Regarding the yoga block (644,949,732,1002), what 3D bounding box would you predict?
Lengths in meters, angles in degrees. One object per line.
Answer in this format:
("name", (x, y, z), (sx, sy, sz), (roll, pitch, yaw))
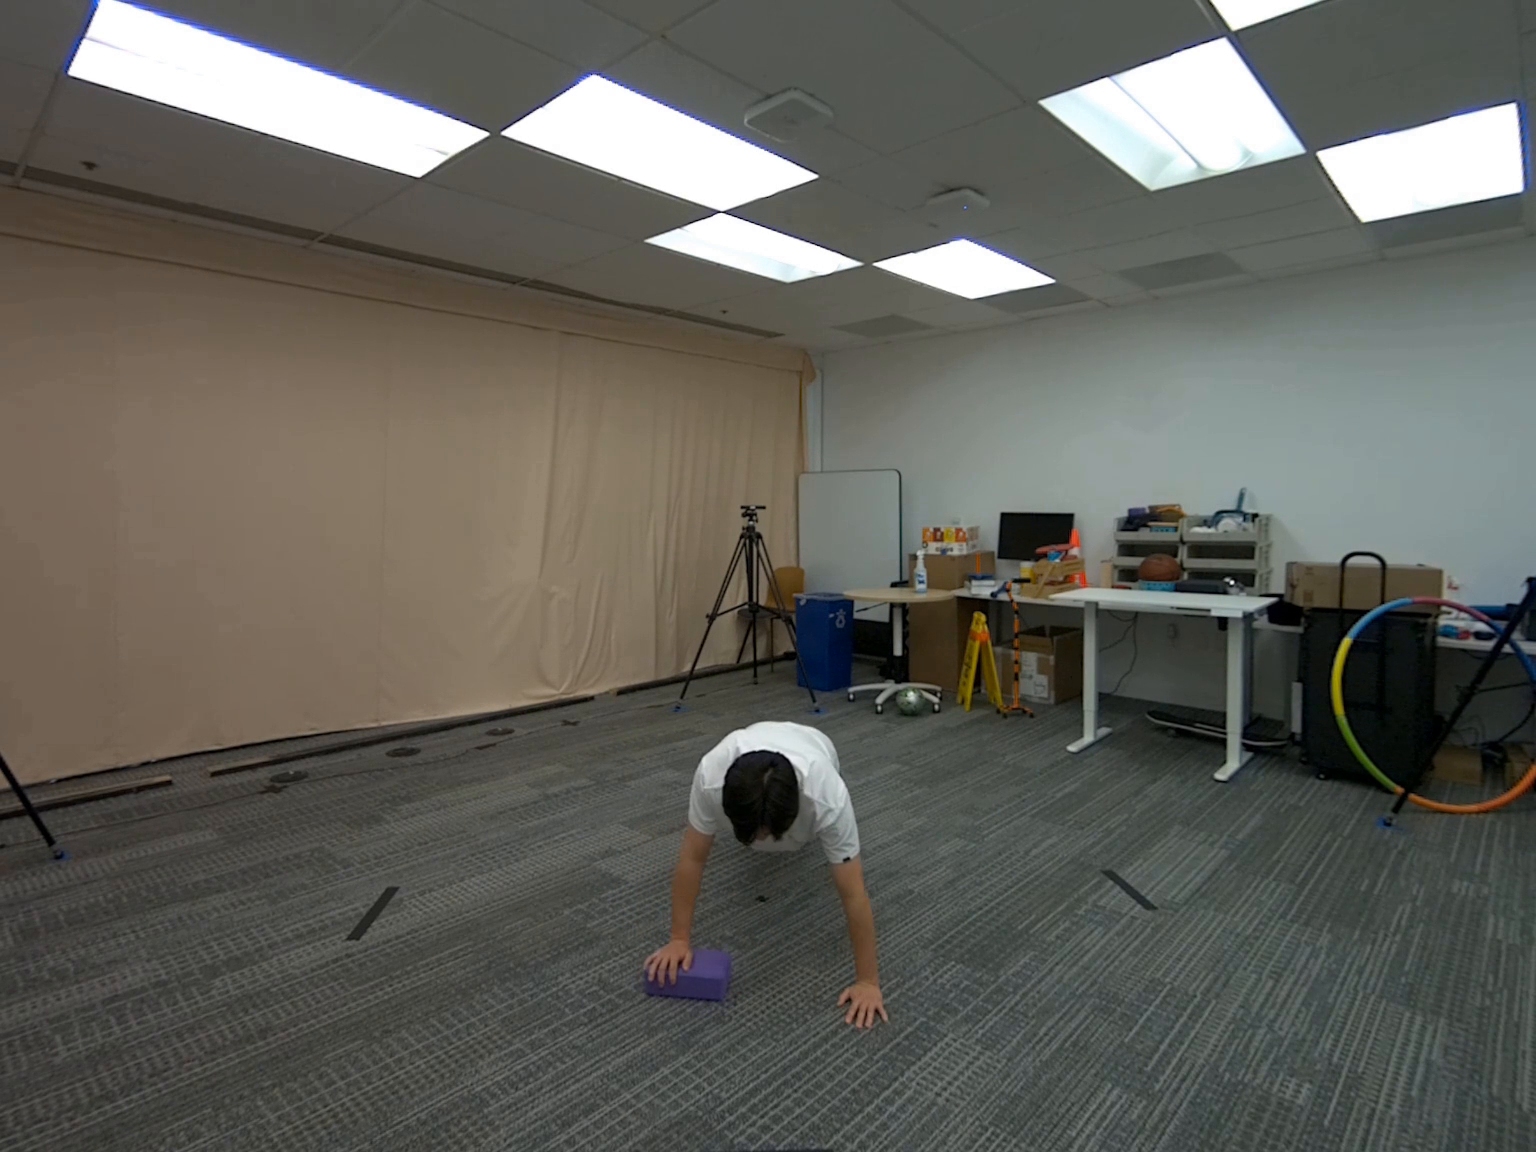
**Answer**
("yoga block", (-0.228, 1.156, 2.444), (0.232, 0.076, 0.147), (0, 3, 10))
